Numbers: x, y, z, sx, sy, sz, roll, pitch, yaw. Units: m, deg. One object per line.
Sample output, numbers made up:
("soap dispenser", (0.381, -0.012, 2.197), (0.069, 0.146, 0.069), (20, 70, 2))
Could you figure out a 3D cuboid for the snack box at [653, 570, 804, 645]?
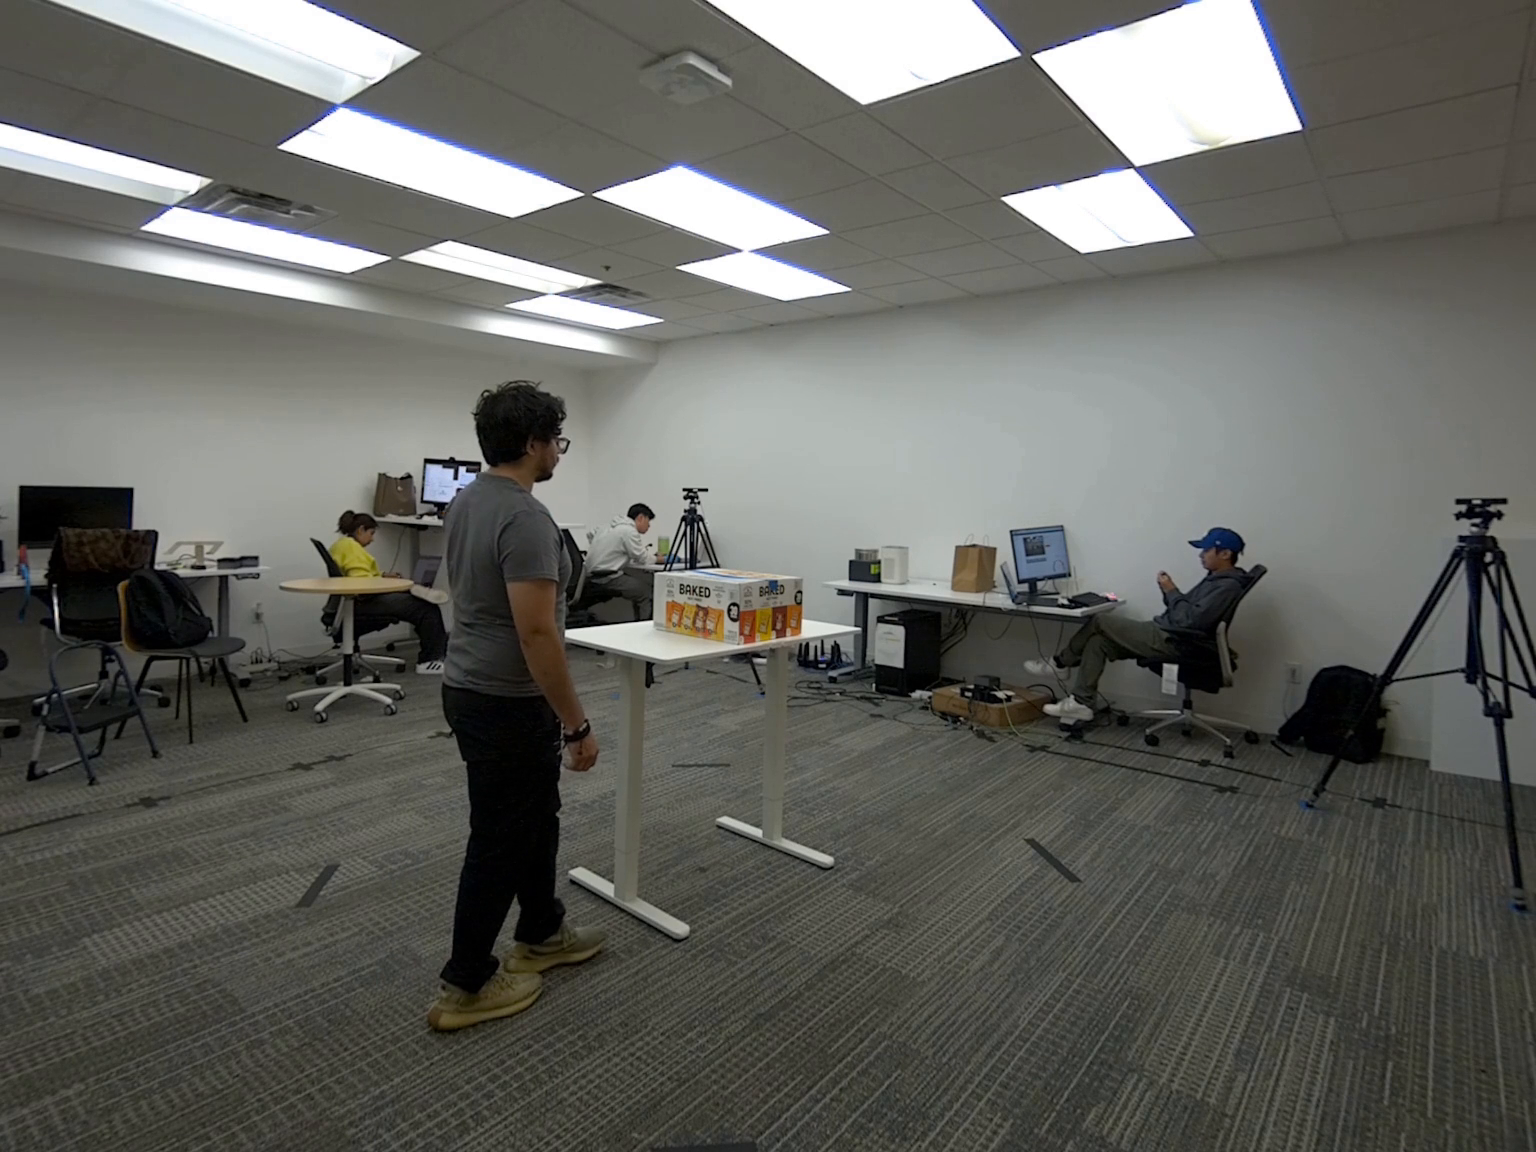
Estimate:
("snack box", (-0.153, 0.095, 3.012), (0.419, 0.205, 0.330), (6, 6, 40))
